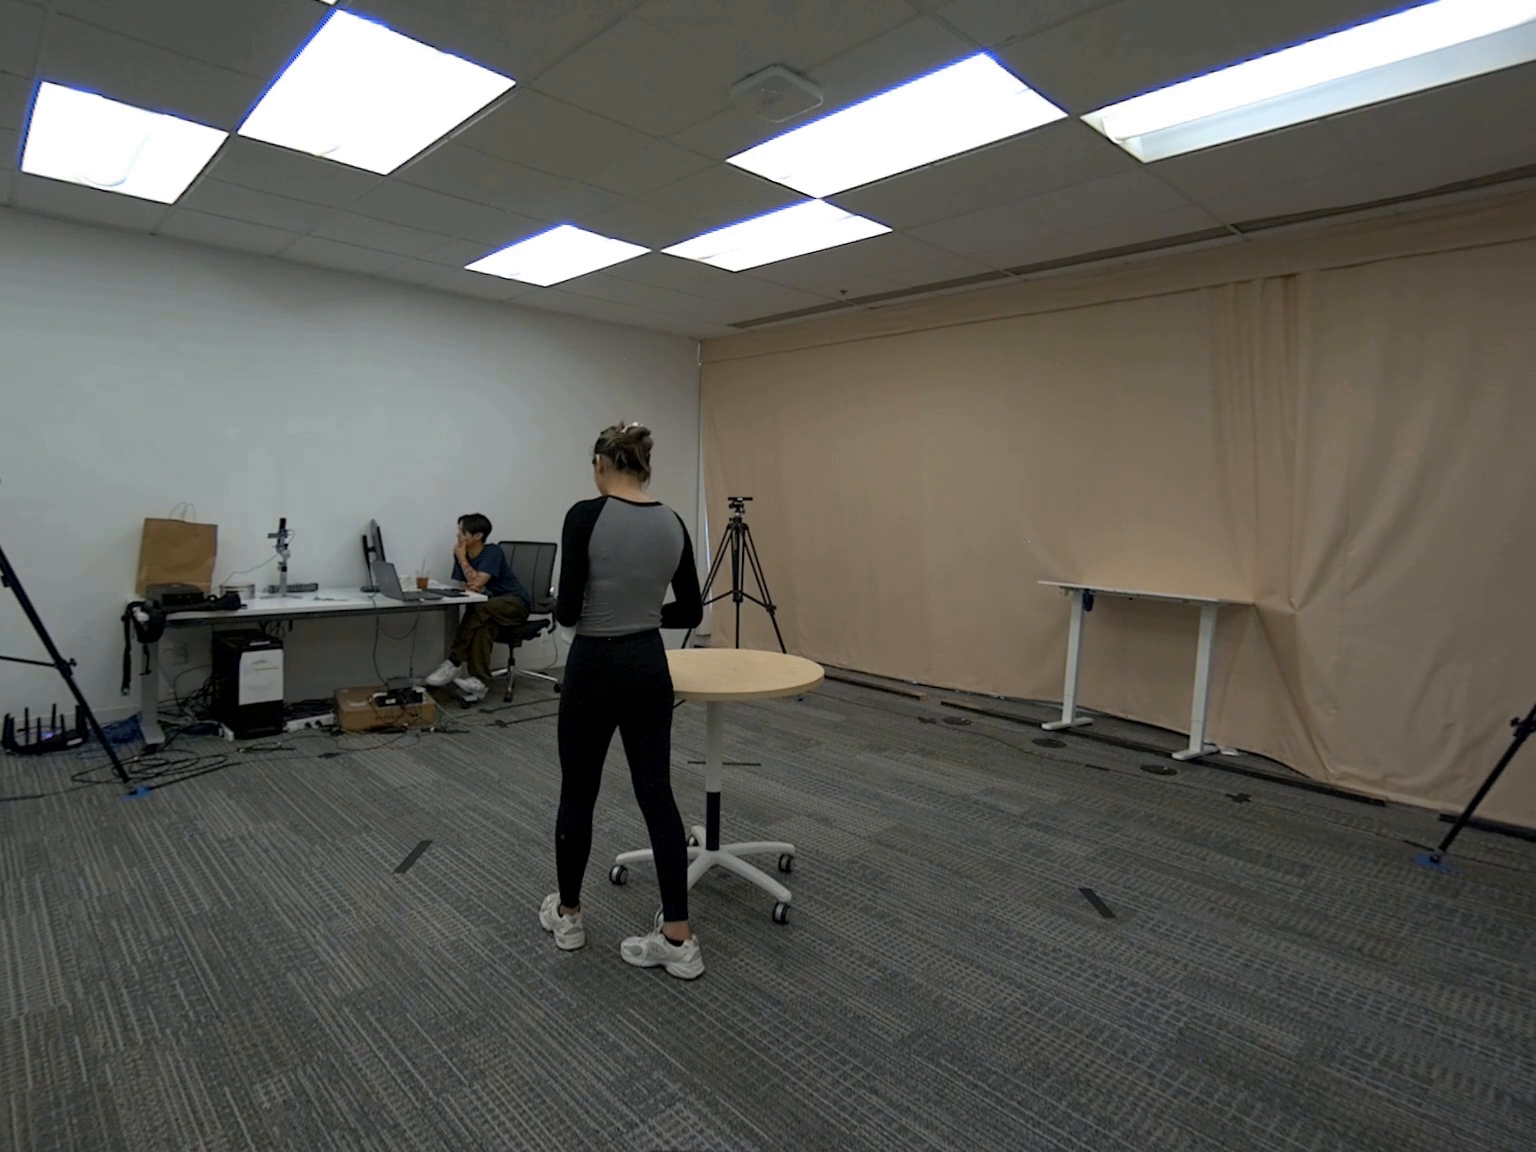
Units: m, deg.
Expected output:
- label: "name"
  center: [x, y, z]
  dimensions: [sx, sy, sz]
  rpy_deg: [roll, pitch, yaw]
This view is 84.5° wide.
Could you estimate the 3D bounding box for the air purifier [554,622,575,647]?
- label: "air purifier"
  center: [-0.563, 0.099, 2.693]
  dimensions: [0.169, 0.264, 0.174]
  rpy_deg: [4, 4, -20]
